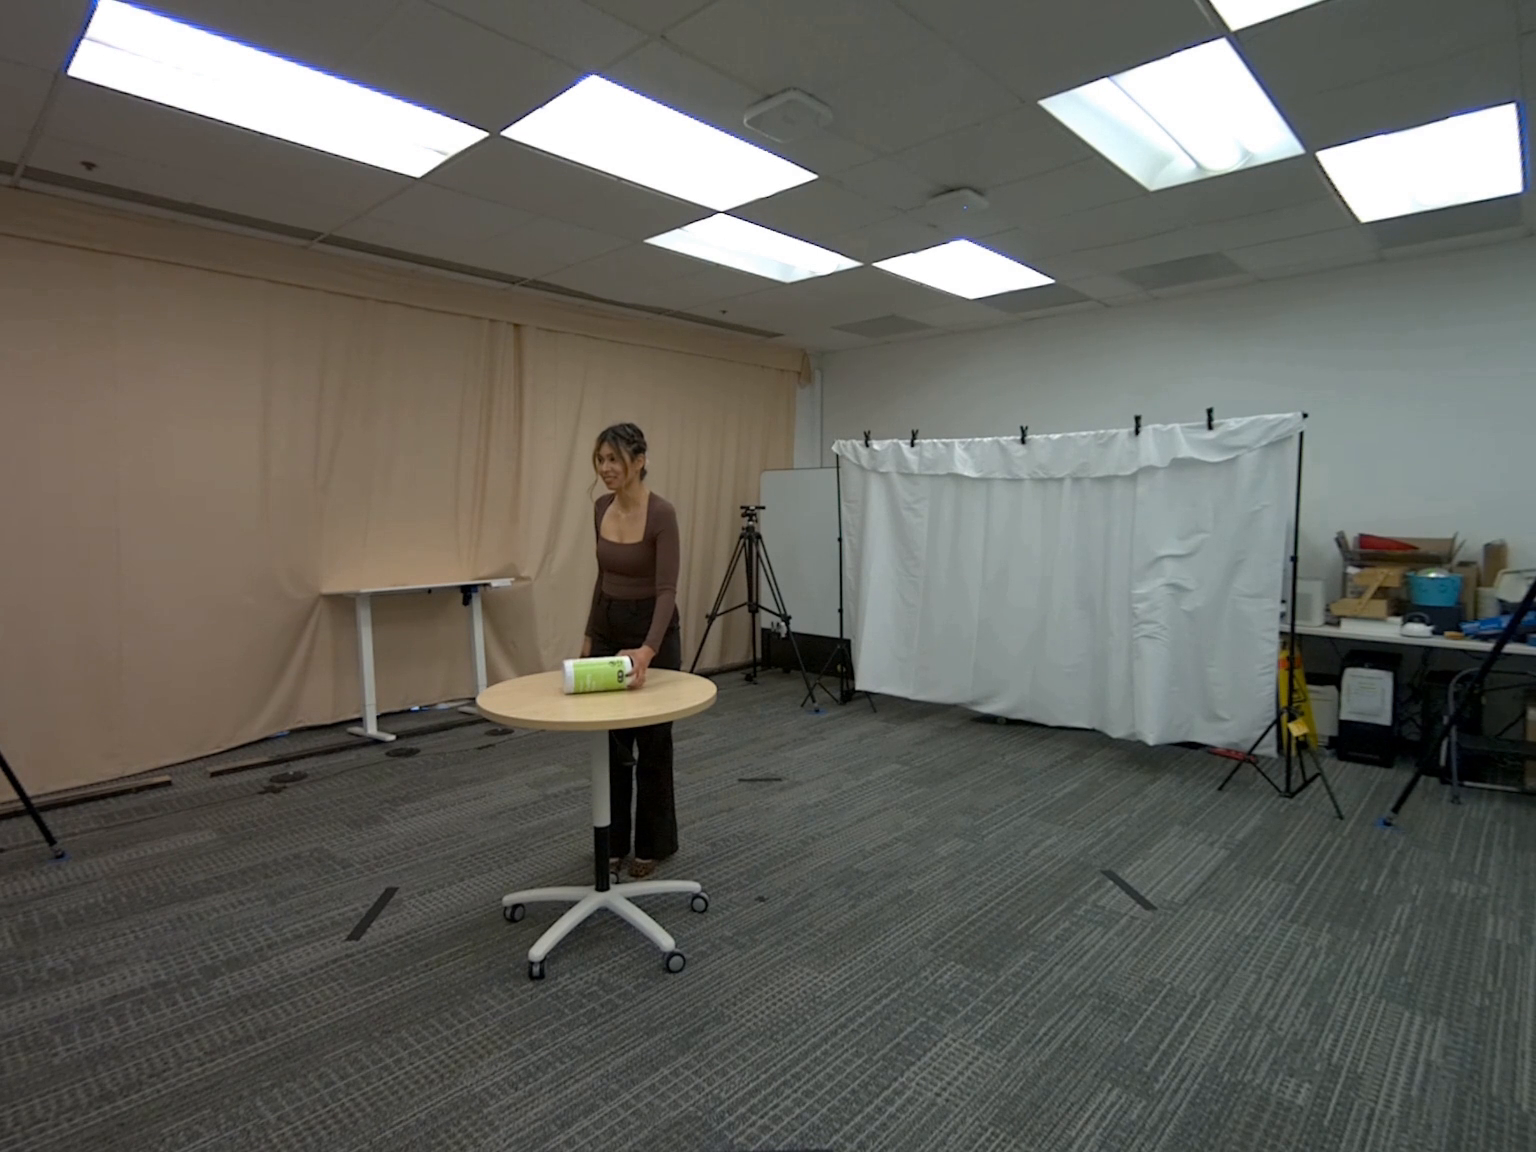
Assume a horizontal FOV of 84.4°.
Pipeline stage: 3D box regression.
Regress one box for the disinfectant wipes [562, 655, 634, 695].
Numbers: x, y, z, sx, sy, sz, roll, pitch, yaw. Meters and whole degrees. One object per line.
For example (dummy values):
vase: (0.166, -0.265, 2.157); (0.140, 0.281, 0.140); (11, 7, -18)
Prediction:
disinfectant wipes: (-0.550, 0.316, 2.726); (0.213, 0.117, 0.120); (-2, 4, -19)
